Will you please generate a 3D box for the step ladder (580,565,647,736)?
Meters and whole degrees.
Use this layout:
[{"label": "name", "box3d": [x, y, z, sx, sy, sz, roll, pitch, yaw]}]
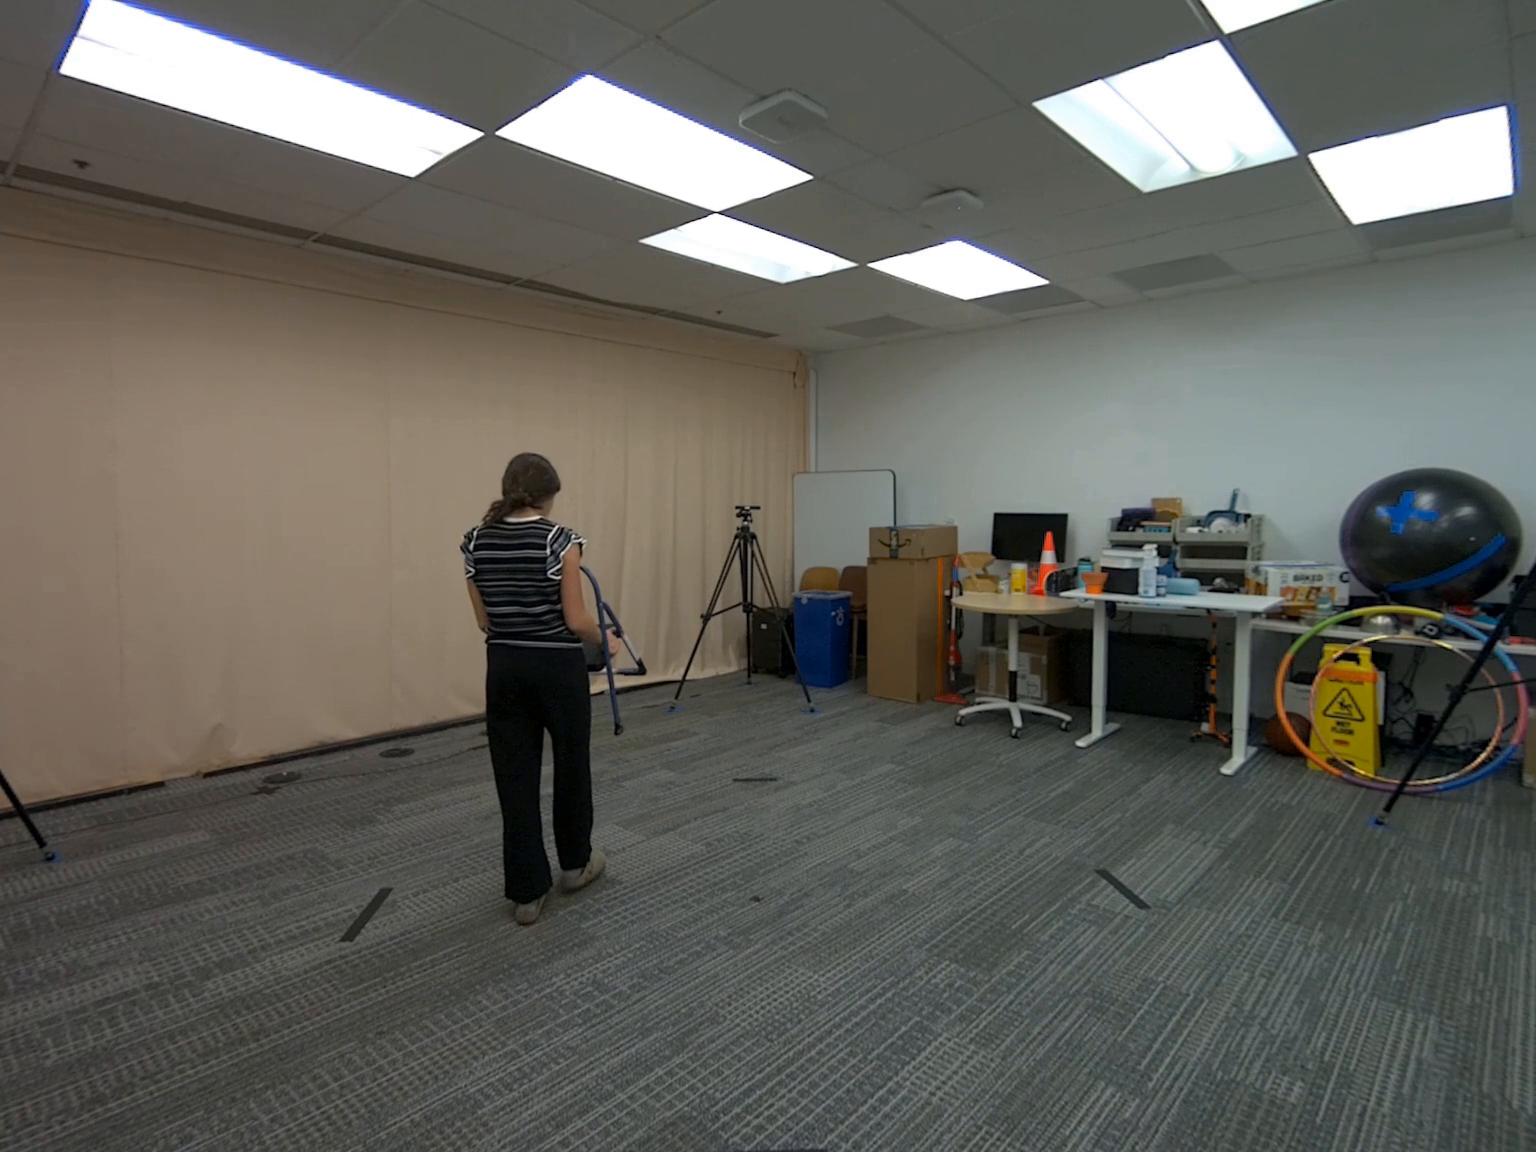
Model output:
[{"label": "step ladder", "box3d": [-0.759, 0.234, 3.096, 0.438, 0.593, 0.351, -3, 31, 16]}]
